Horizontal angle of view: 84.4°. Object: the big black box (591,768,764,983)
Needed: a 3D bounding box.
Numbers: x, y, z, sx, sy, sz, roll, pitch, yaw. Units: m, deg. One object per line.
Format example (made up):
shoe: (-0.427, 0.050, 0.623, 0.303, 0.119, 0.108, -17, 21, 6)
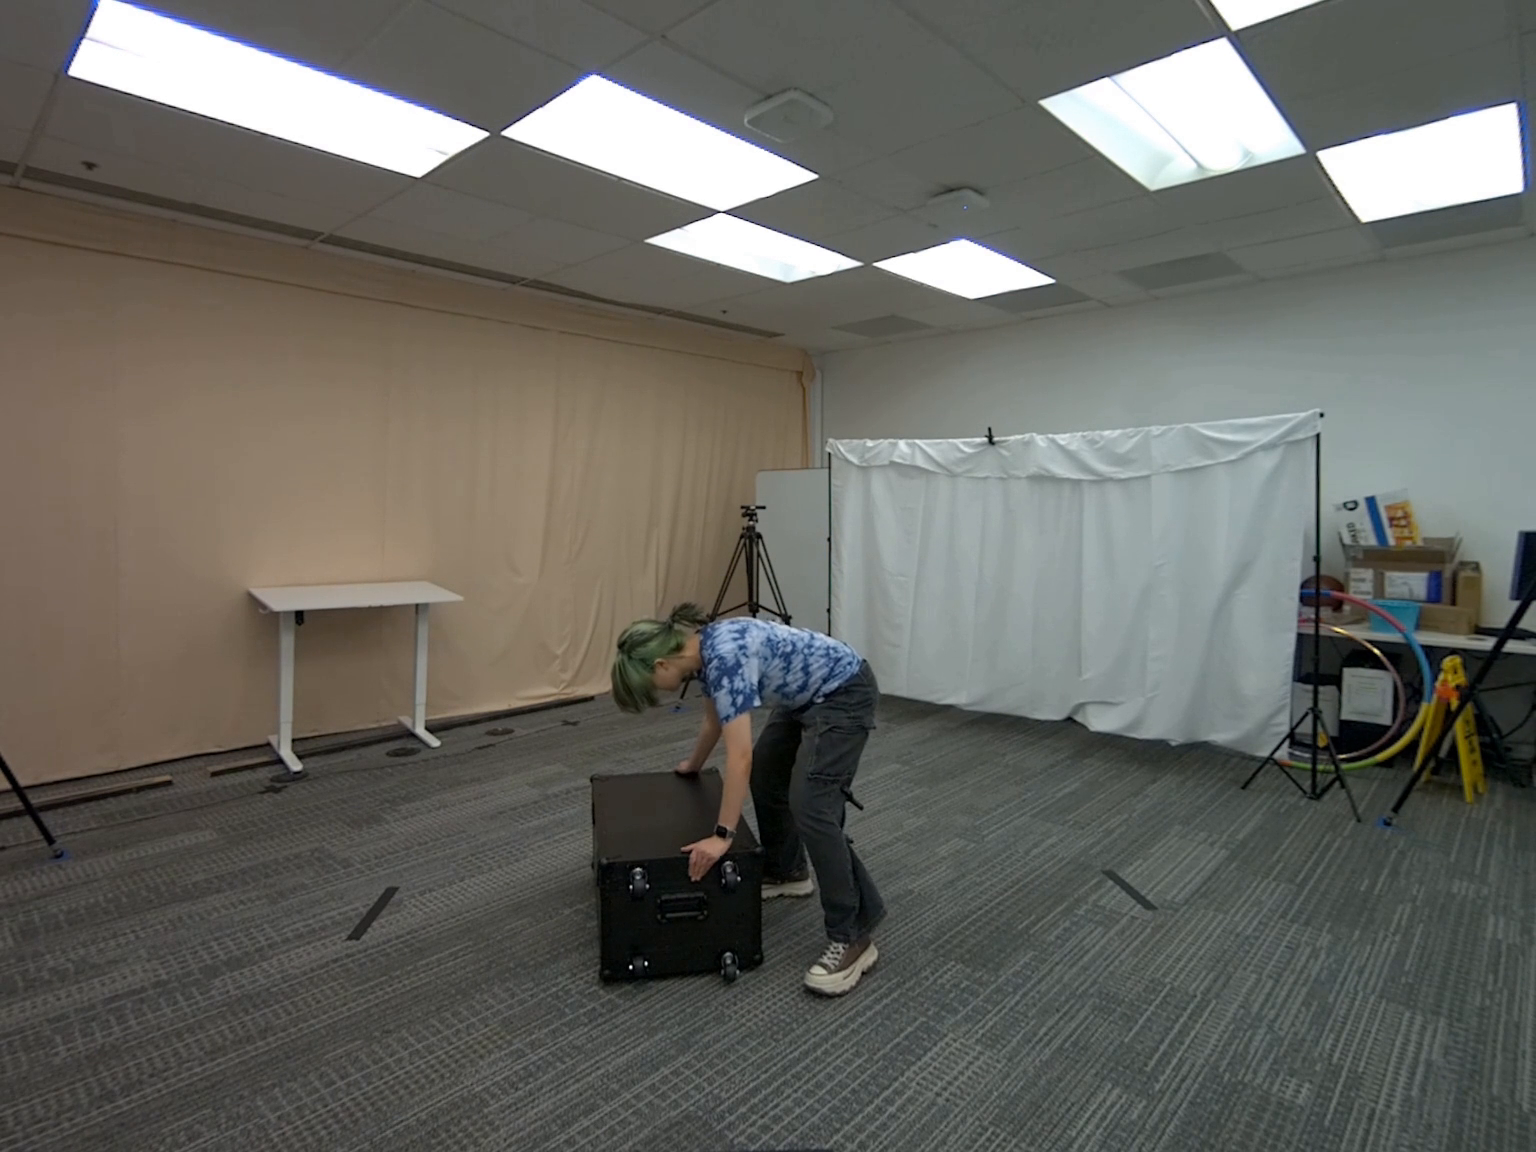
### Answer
big black box: (-0.347, 0.963, 2.863, 0.514, 0.395, 0.875, 0, 5, -13)
